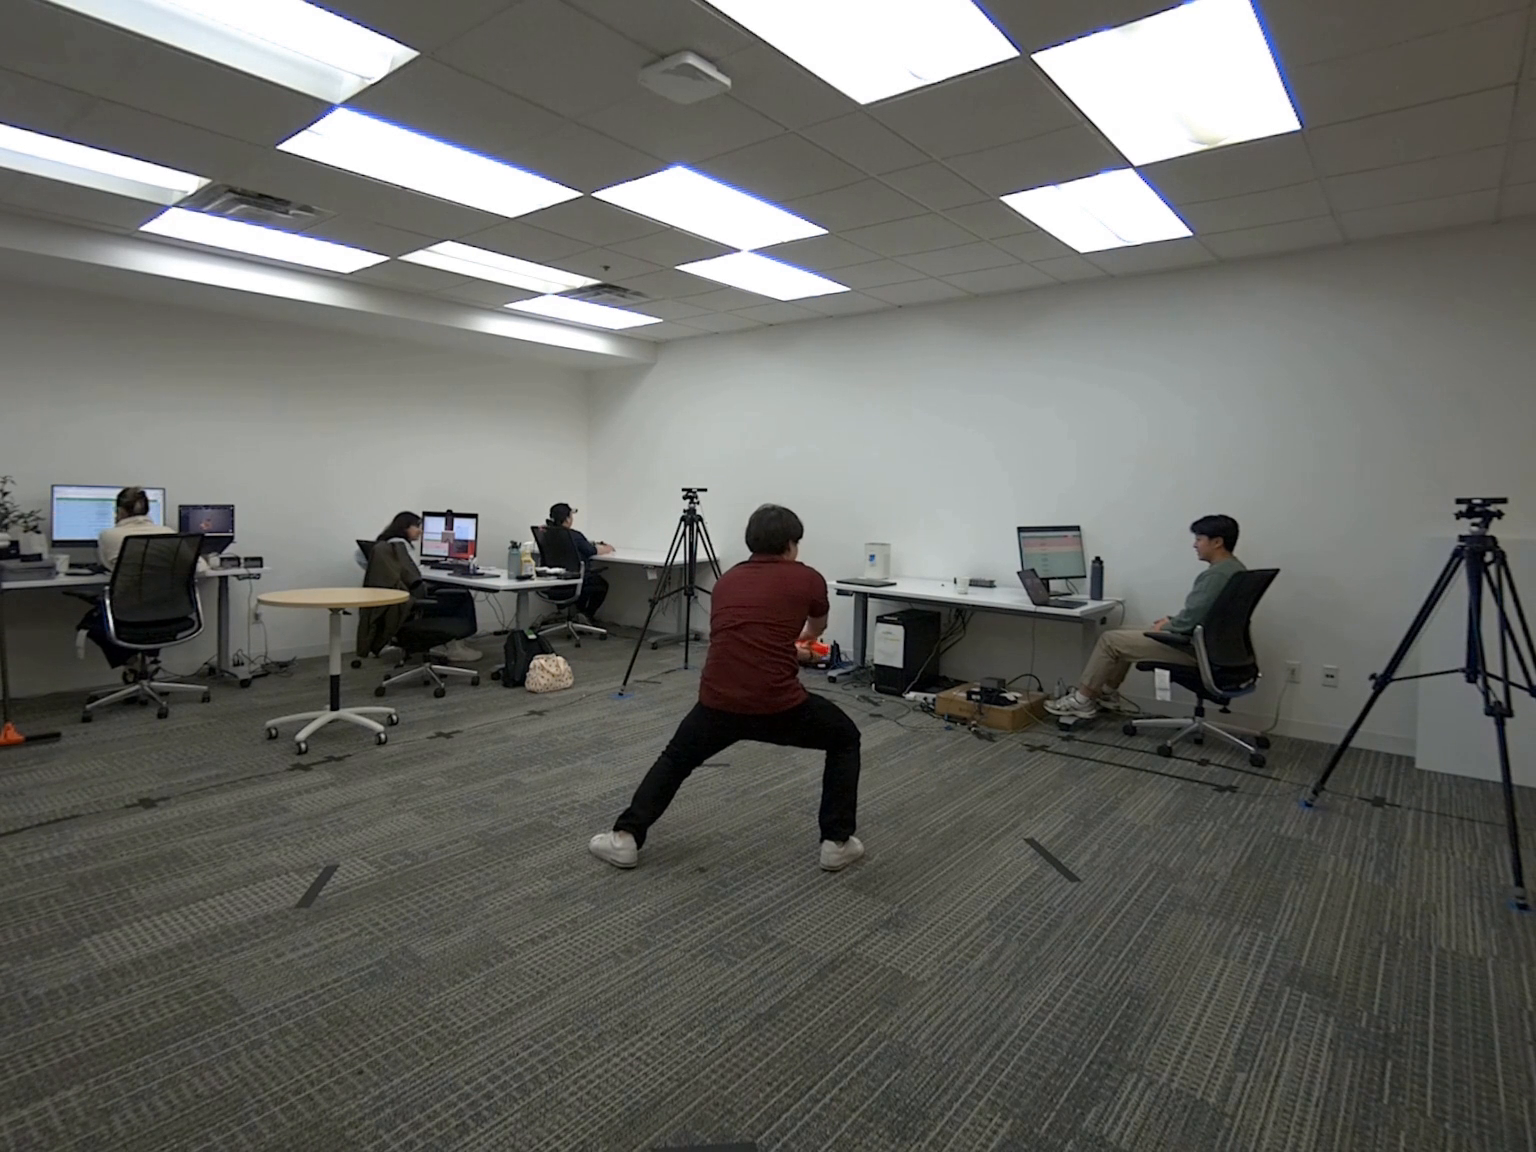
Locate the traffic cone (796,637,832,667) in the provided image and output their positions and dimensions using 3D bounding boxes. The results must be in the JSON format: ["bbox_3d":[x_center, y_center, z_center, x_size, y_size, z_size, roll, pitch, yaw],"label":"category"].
[{"bbox_3d":[0.085,0.305,3.697,0.395,0.203,0.199,-2,1,42],"label":"traffic cone"}]
